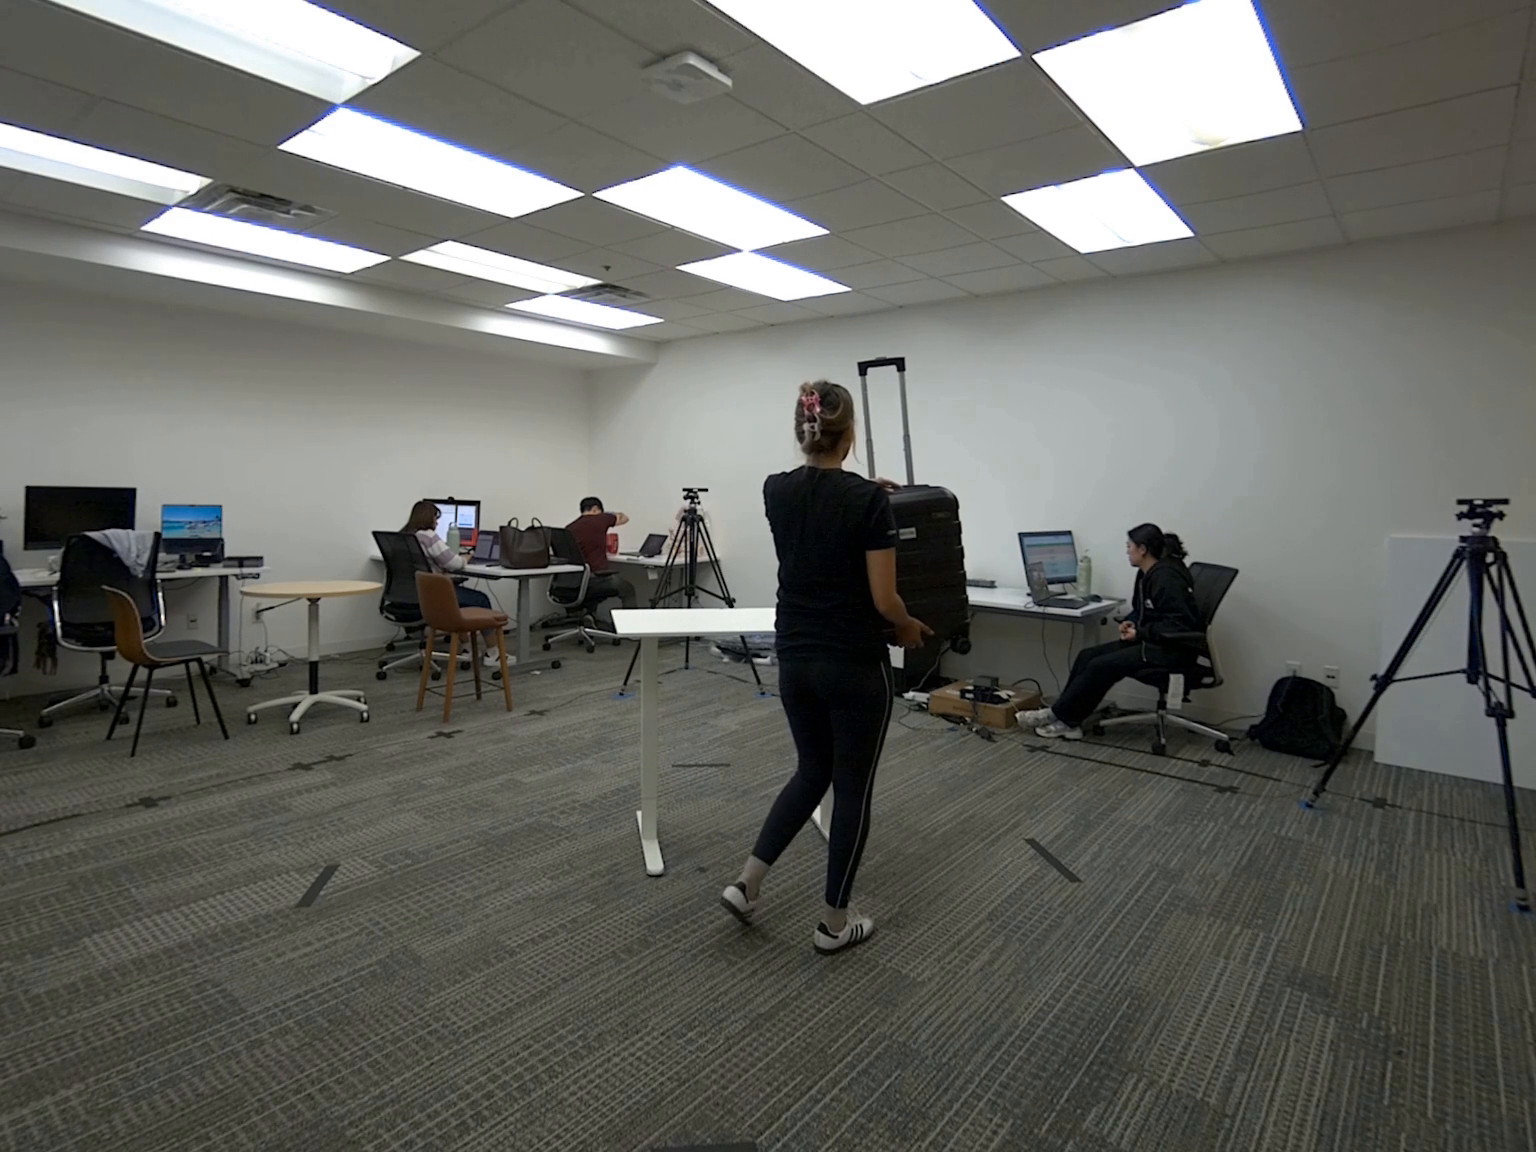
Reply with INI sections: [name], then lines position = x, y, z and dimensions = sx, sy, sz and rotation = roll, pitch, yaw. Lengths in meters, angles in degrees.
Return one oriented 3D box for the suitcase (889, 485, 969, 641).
[suitcase]
position = 0.431, -0.230, 2.797
dimensions = 0.384, 0.971, 0.259
rotation = -5, 7, 1
